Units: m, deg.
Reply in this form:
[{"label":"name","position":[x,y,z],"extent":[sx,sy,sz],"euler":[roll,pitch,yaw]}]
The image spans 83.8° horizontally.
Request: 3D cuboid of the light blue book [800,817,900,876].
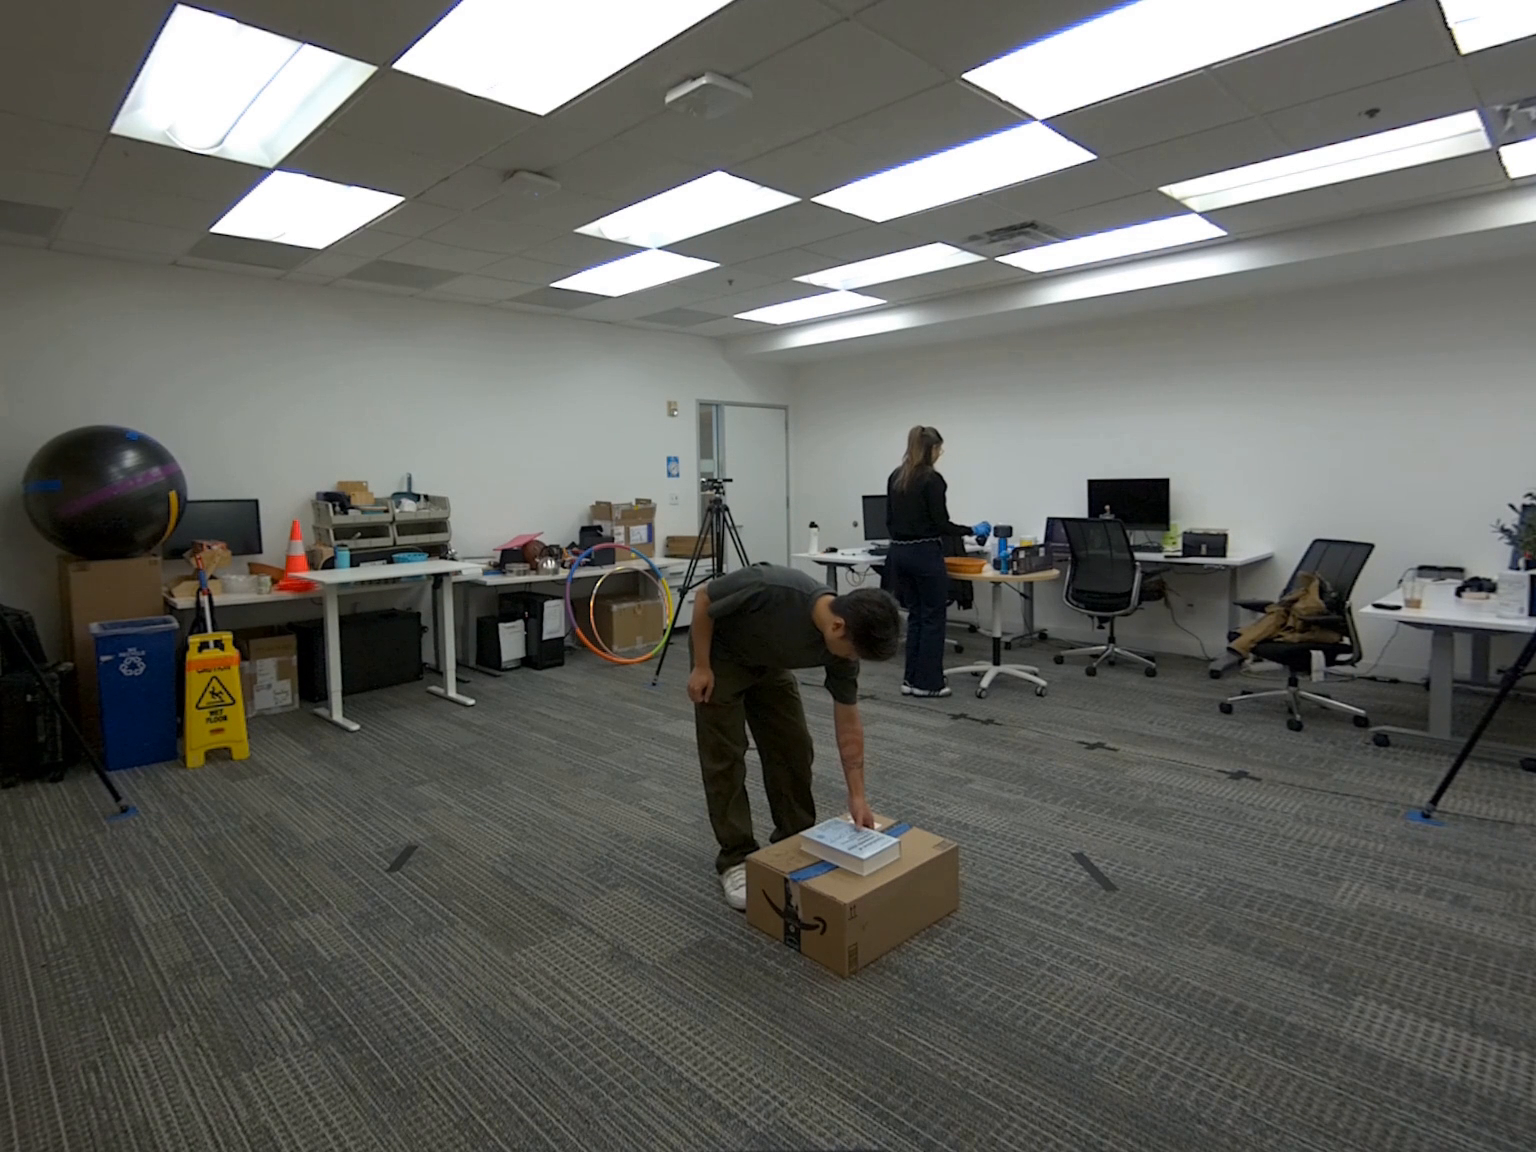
[{"label":"light blue book","position":[0.263,0.853,2.689],"extent":[0.186,0.059,0.269],"euler":[-8,8,-43]}]
